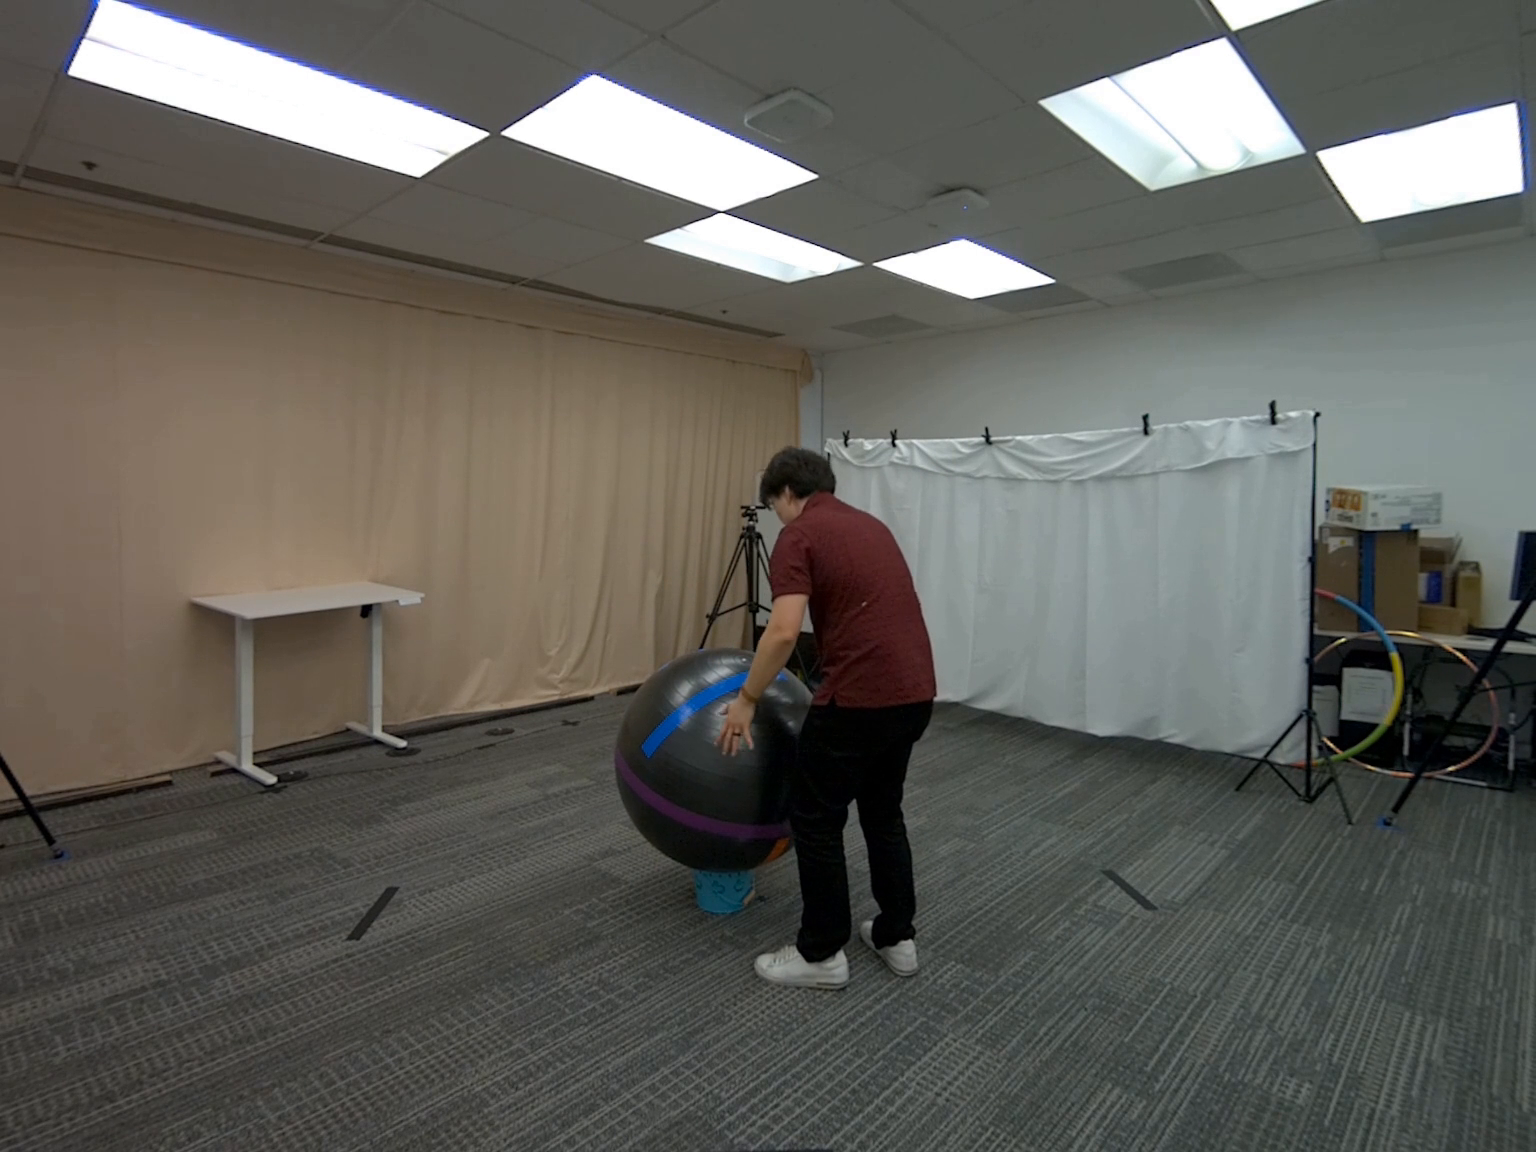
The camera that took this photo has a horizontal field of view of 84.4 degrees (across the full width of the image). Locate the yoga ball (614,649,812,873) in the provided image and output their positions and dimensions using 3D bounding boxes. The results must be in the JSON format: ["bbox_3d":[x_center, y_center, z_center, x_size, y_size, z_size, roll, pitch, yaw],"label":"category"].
[{"bbox_3d":[-0.153,0.636,2.951,0.757,0.756,0.760,0,4,-2],"label":"yoga ball"}]
